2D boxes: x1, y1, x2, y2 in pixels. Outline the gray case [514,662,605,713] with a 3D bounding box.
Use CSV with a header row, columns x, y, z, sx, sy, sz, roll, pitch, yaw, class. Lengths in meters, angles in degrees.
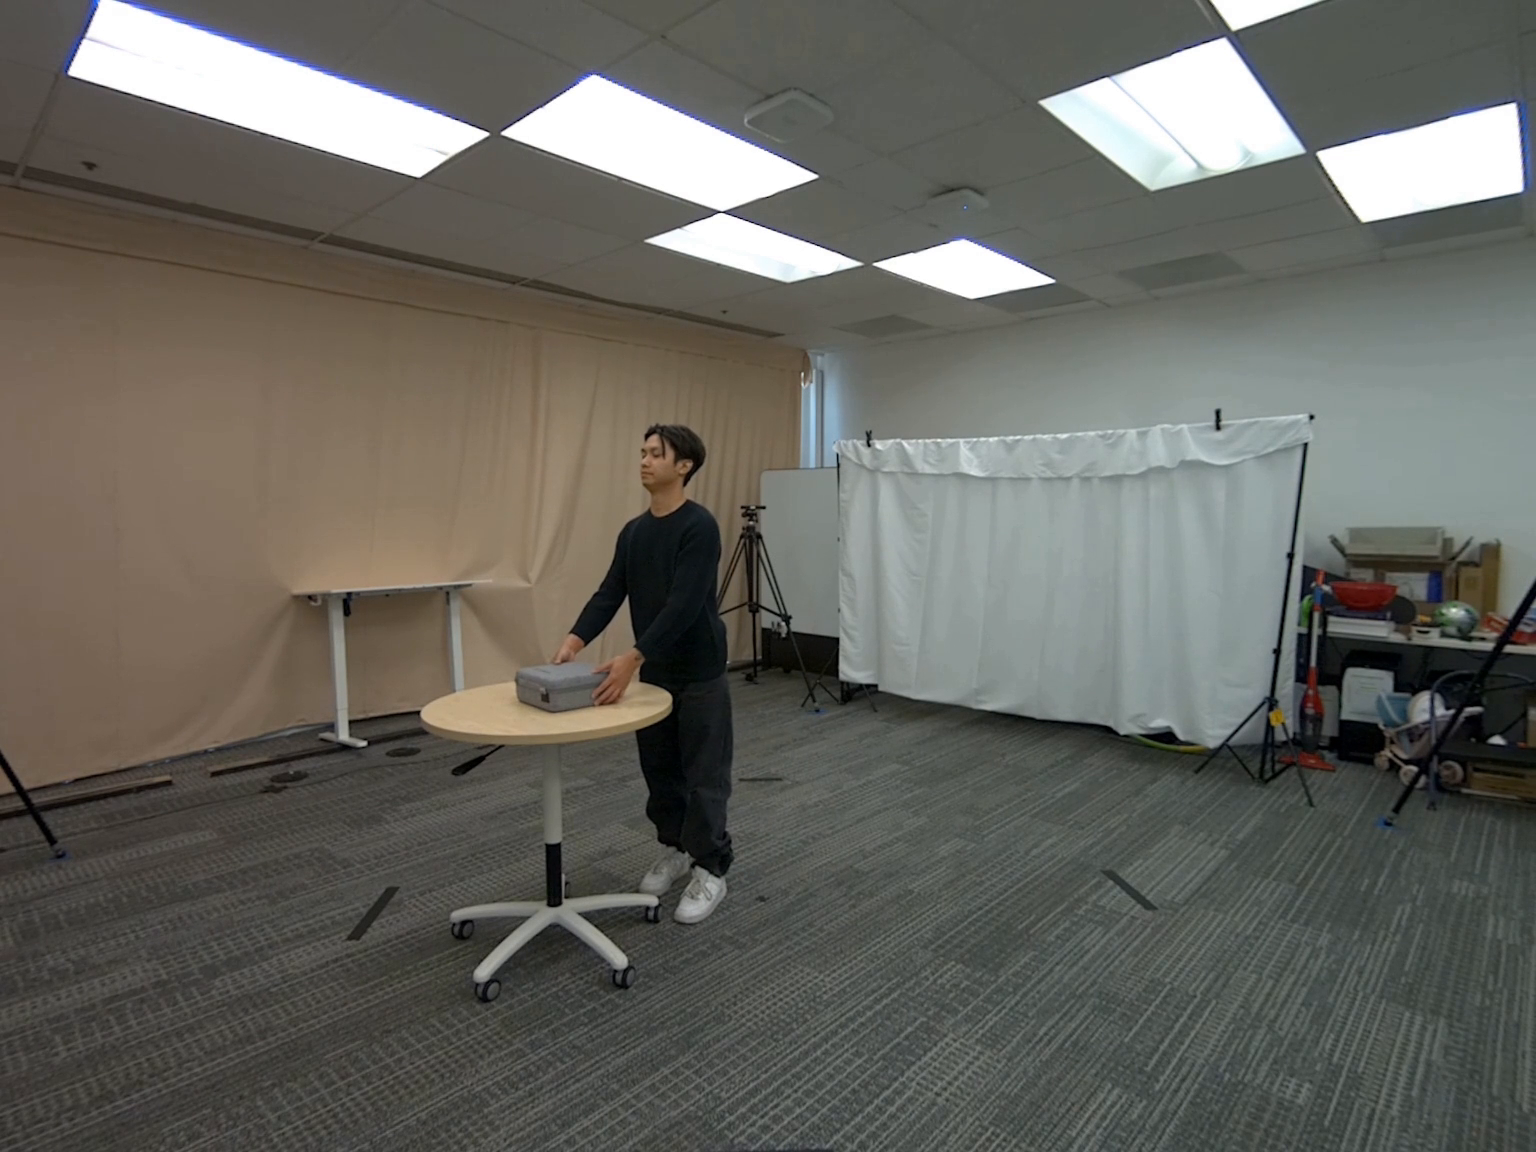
x,y,z,sx,sy,sz,roll,pitch,yaw,class
-0.642,0.344,2.637,0.265,0.104,0.253,2,5,45,gray case
